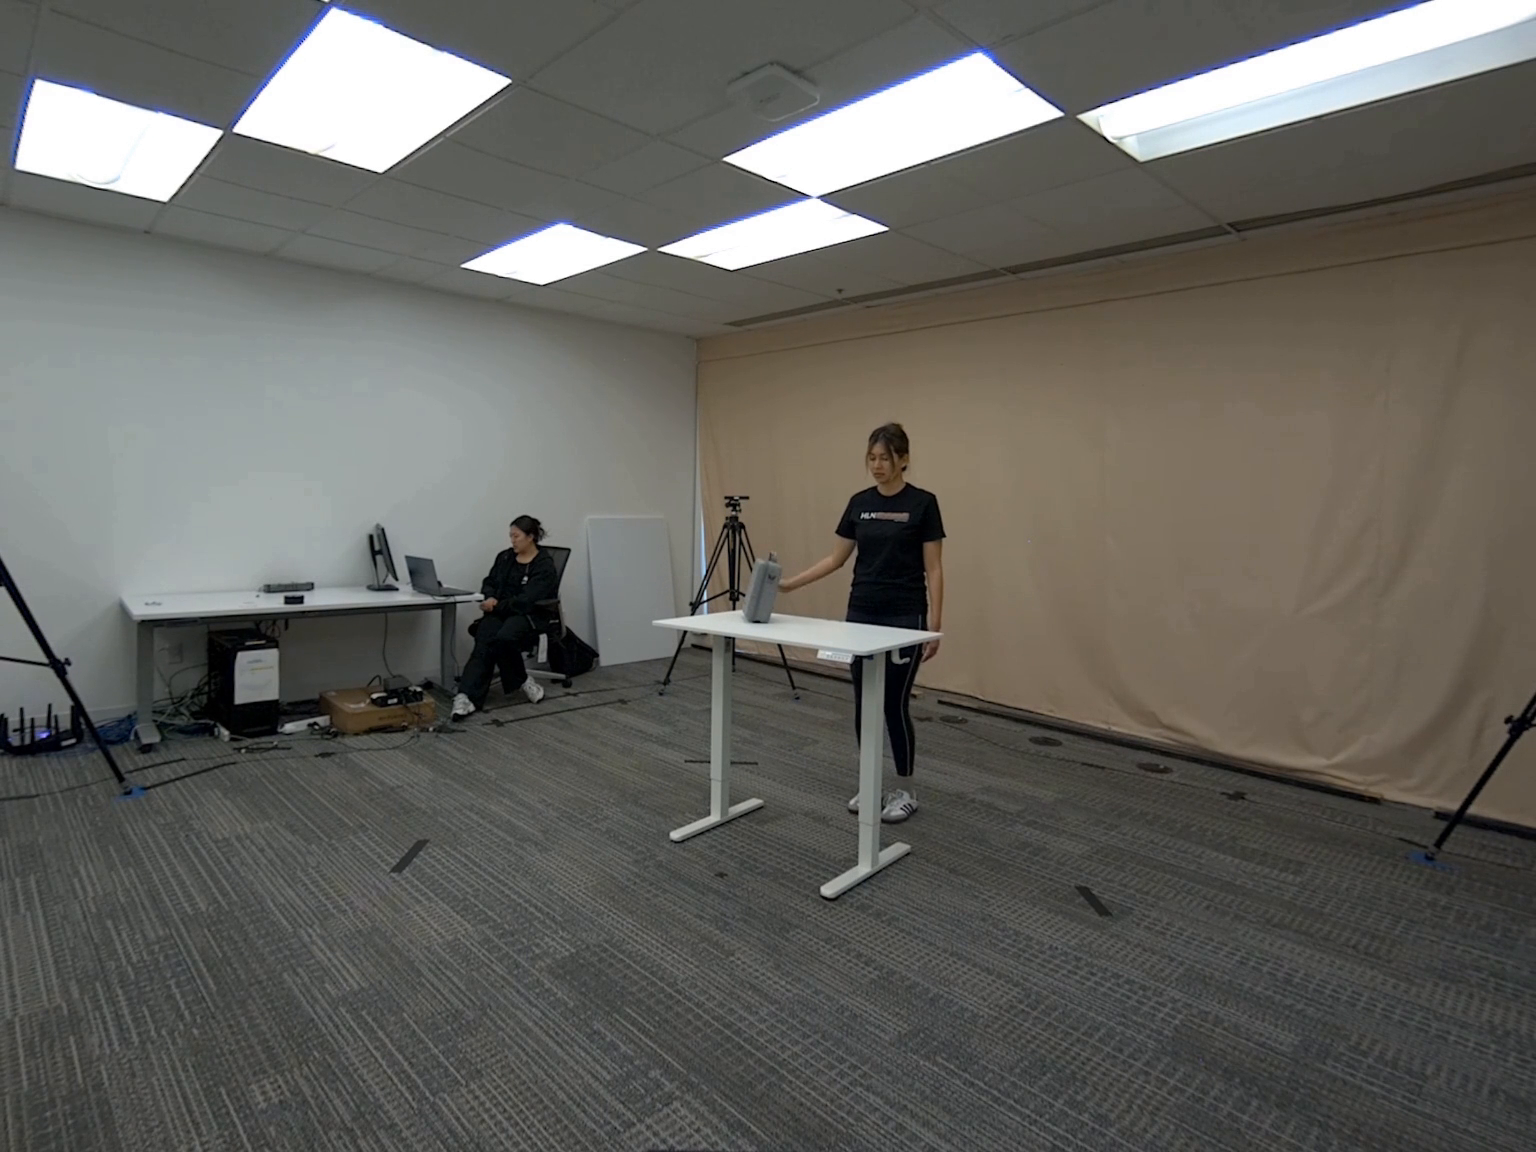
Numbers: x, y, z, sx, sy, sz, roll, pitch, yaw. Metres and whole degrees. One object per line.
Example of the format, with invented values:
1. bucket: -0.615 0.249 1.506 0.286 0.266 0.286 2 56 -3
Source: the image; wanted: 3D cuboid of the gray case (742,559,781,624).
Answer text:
1. gray case: -0.047 0.056 3.557 0.104 0.260 0.258 12 2 -7
